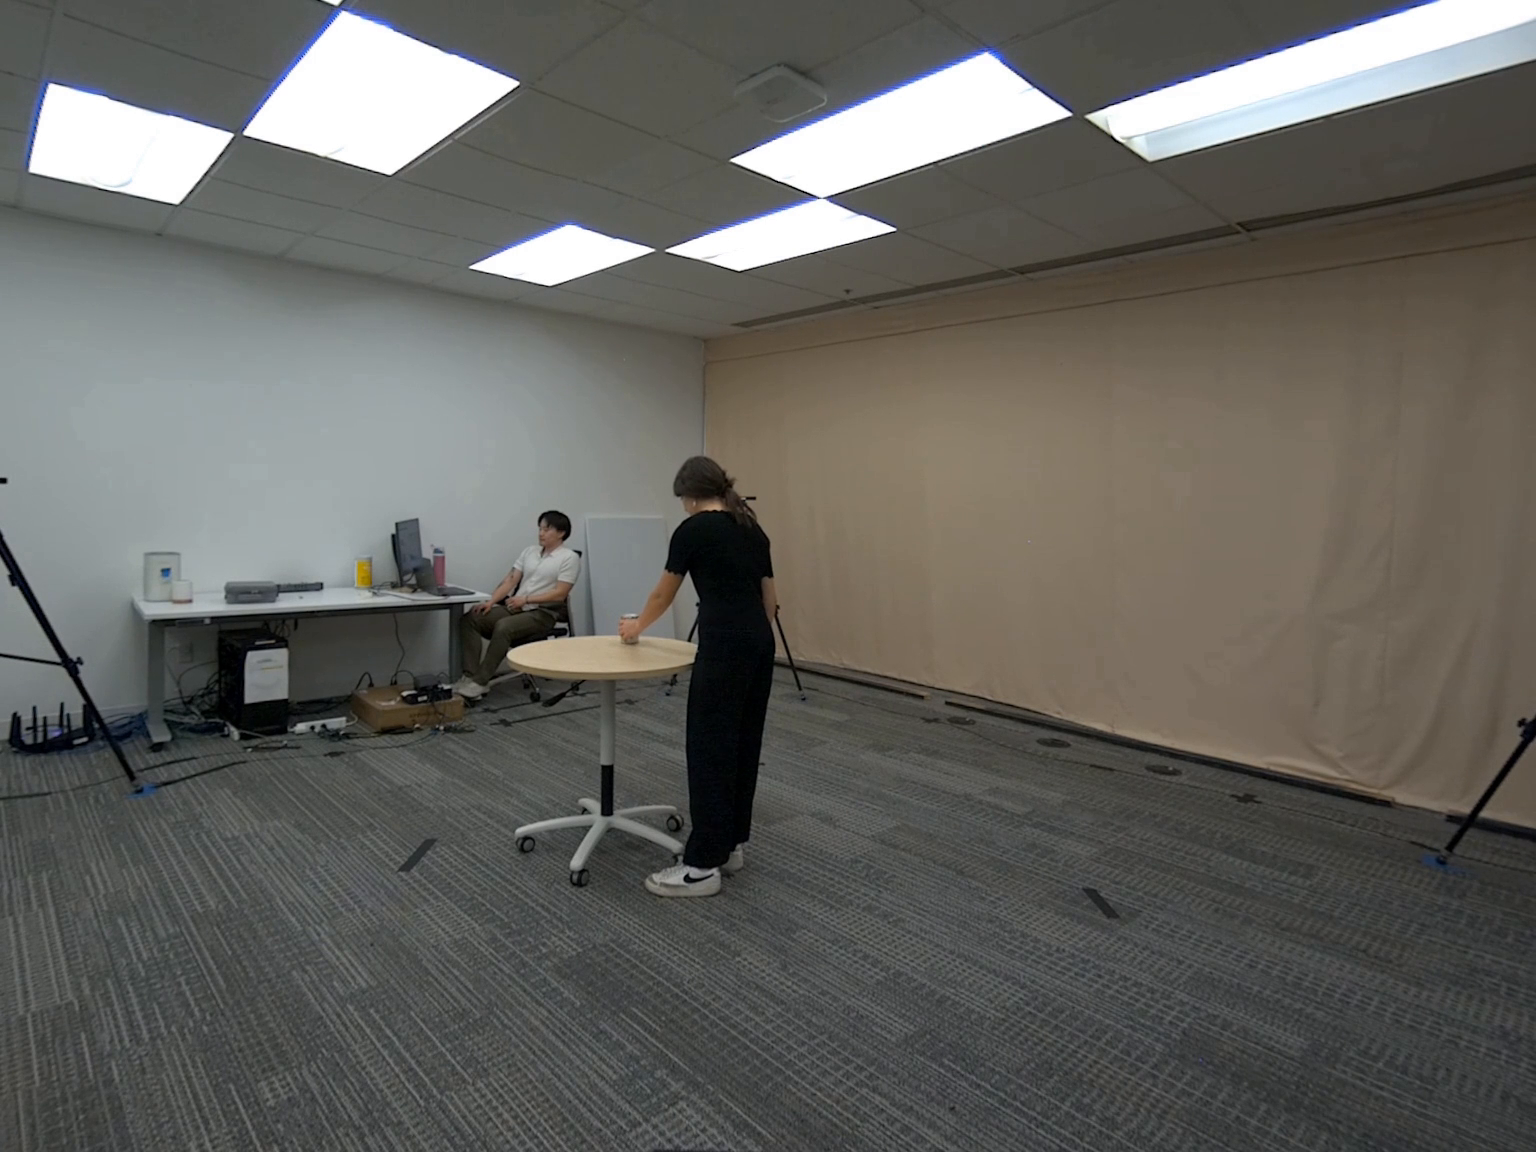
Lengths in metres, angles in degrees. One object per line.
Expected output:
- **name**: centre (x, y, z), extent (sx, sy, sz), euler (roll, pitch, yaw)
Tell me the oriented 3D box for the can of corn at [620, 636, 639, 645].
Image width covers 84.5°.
- **can of corn**: centre (-0.565, 0.223, 3.485), extent (0.074, 0.111, 0.074), euler (2, 5, -2)
